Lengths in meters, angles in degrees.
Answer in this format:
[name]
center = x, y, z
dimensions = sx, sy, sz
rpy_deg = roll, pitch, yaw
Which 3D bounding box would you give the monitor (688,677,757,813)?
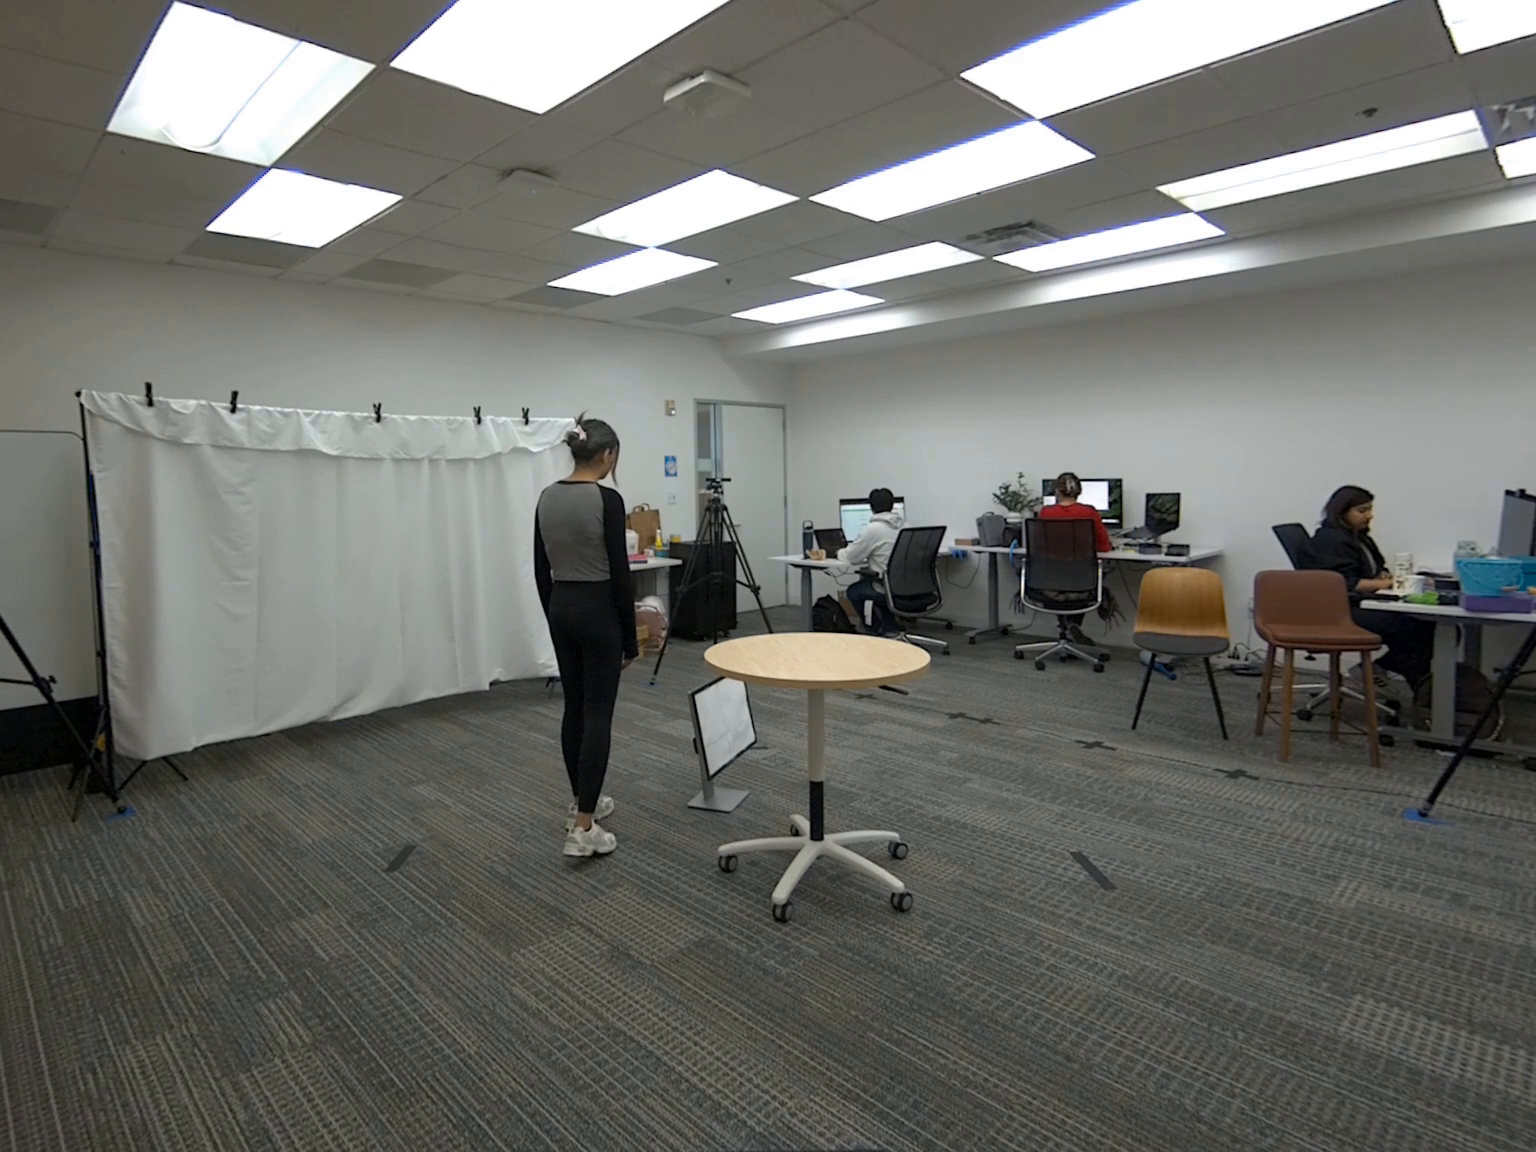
[monitor]
center = -0.220, 0.711, 3.709
dimensions = 0.191, 0.521, 0.531
rpy_deg = 2, 5, 18
